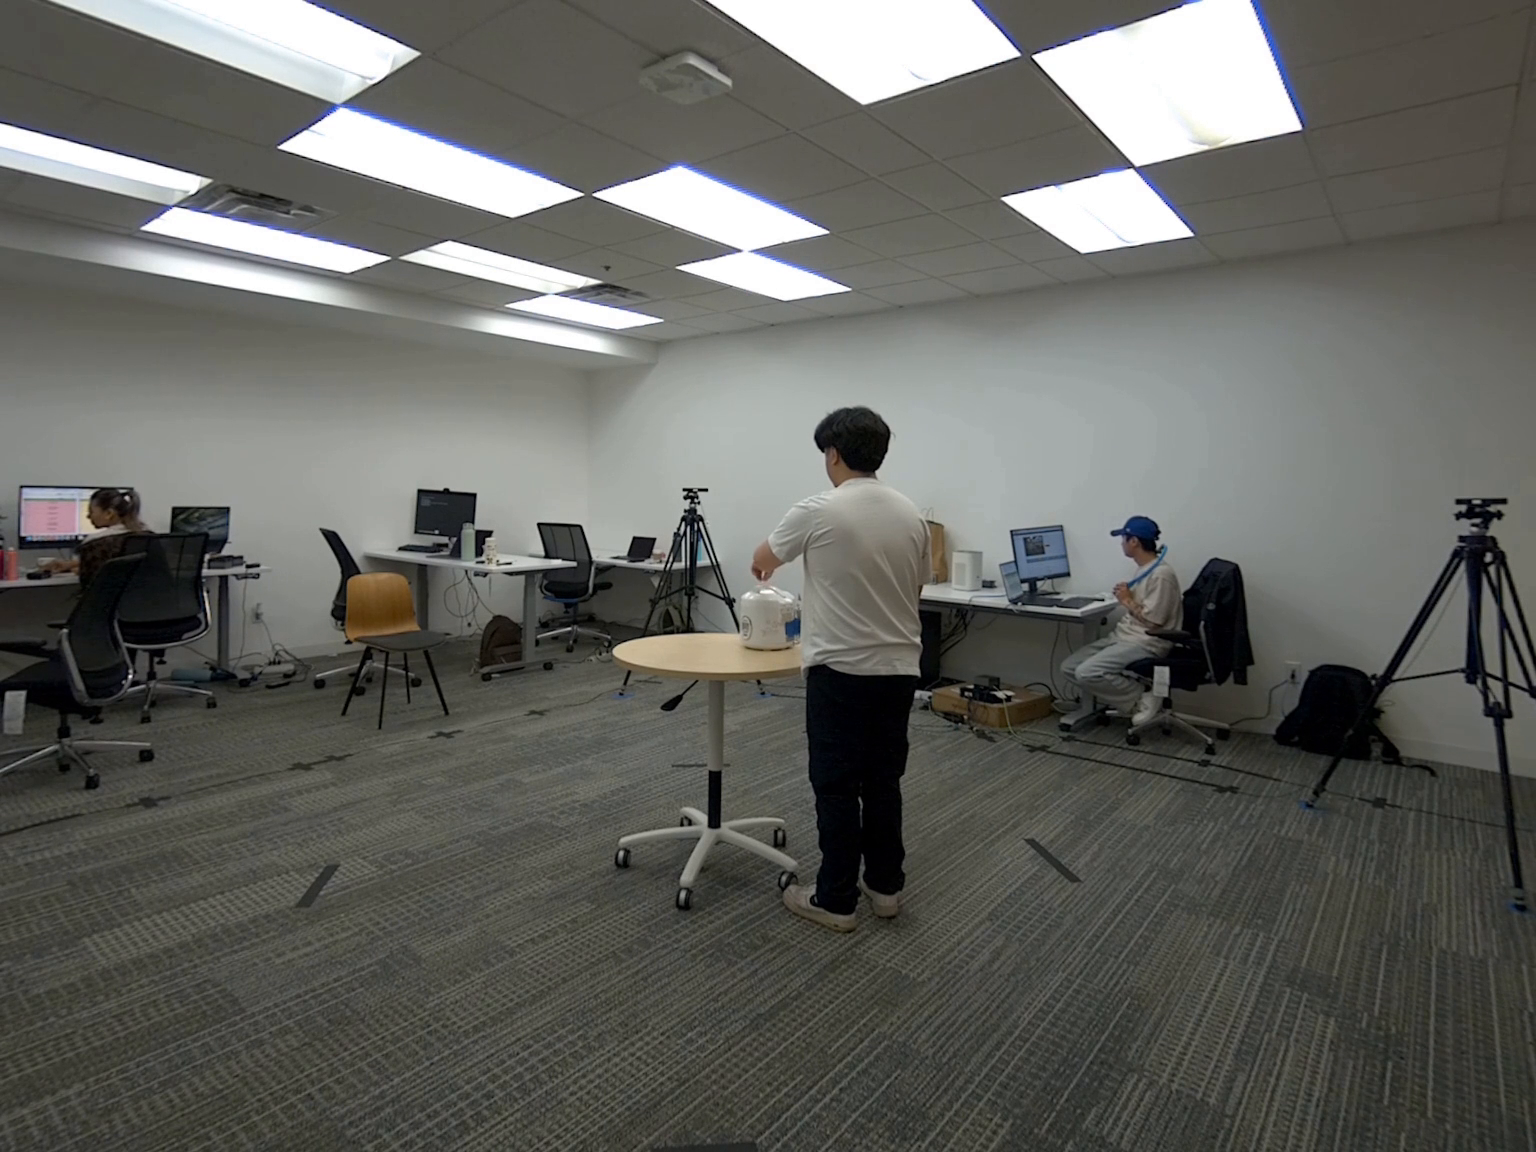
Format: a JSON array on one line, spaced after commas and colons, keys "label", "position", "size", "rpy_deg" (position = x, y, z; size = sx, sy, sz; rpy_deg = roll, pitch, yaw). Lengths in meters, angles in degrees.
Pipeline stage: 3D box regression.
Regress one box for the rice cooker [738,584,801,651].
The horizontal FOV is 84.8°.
[{"label": "rice cooker", "position": [-0.011, 0.149, 3.214], "size": [0.211, 0.232, 0.228], "rpy_deg": [0, 3, -40]}]
